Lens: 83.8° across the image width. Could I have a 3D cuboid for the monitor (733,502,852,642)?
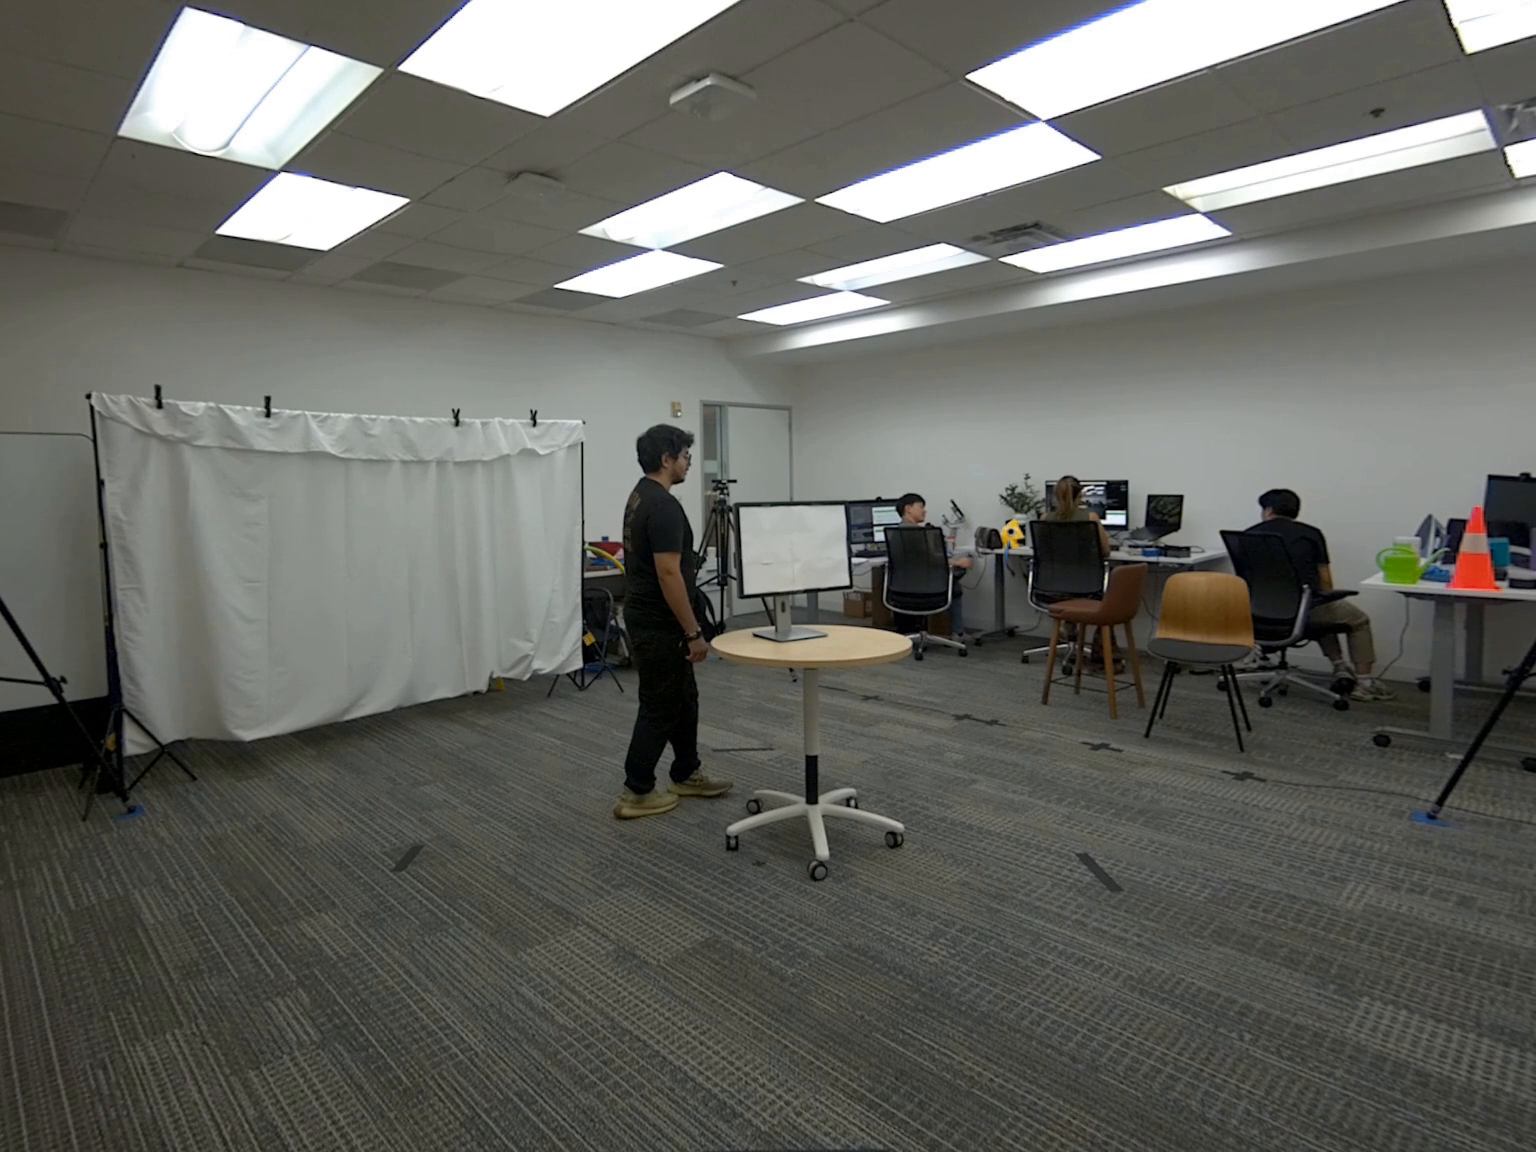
[{"bbox_3d":[0.070,-0.025,3.411,0.551,0.553,0.216,-4,2,-34],"label":"monitor"}]
